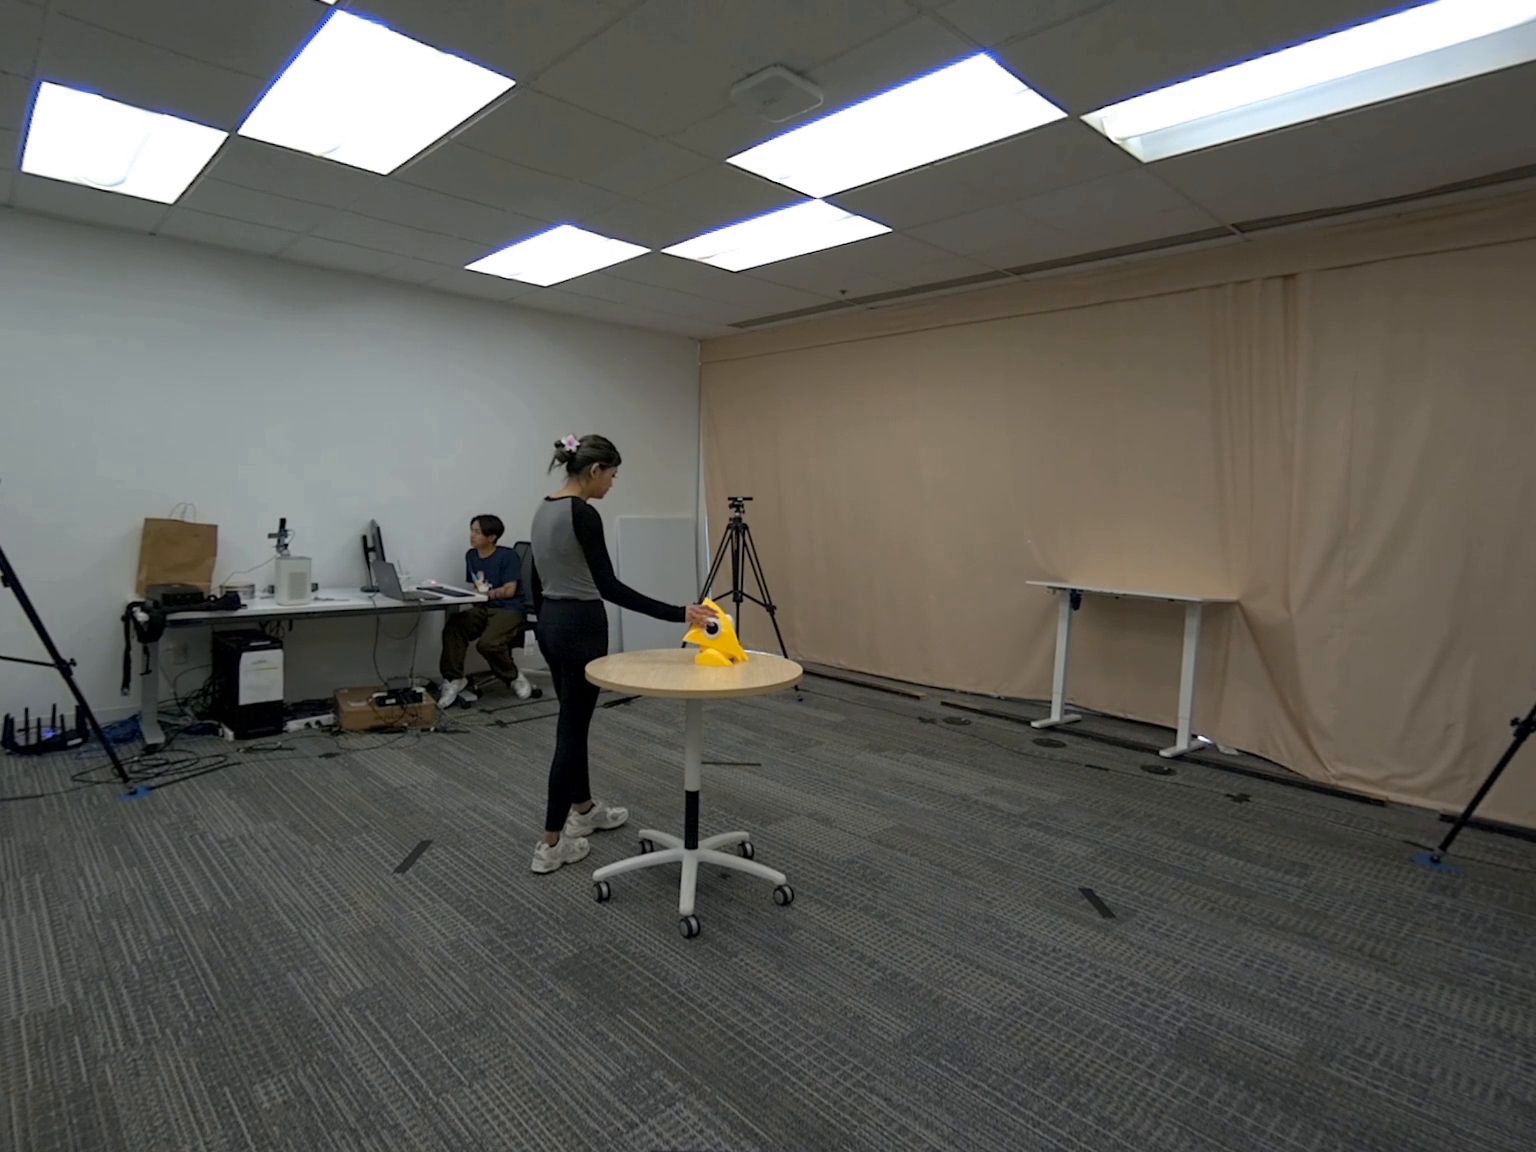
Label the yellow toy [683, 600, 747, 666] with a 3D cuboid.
[{"bbox_3d":[-0.188,0.200,3.097,0.197,0.230,0.201,4,5,31],"label":"yellow toy"}]
